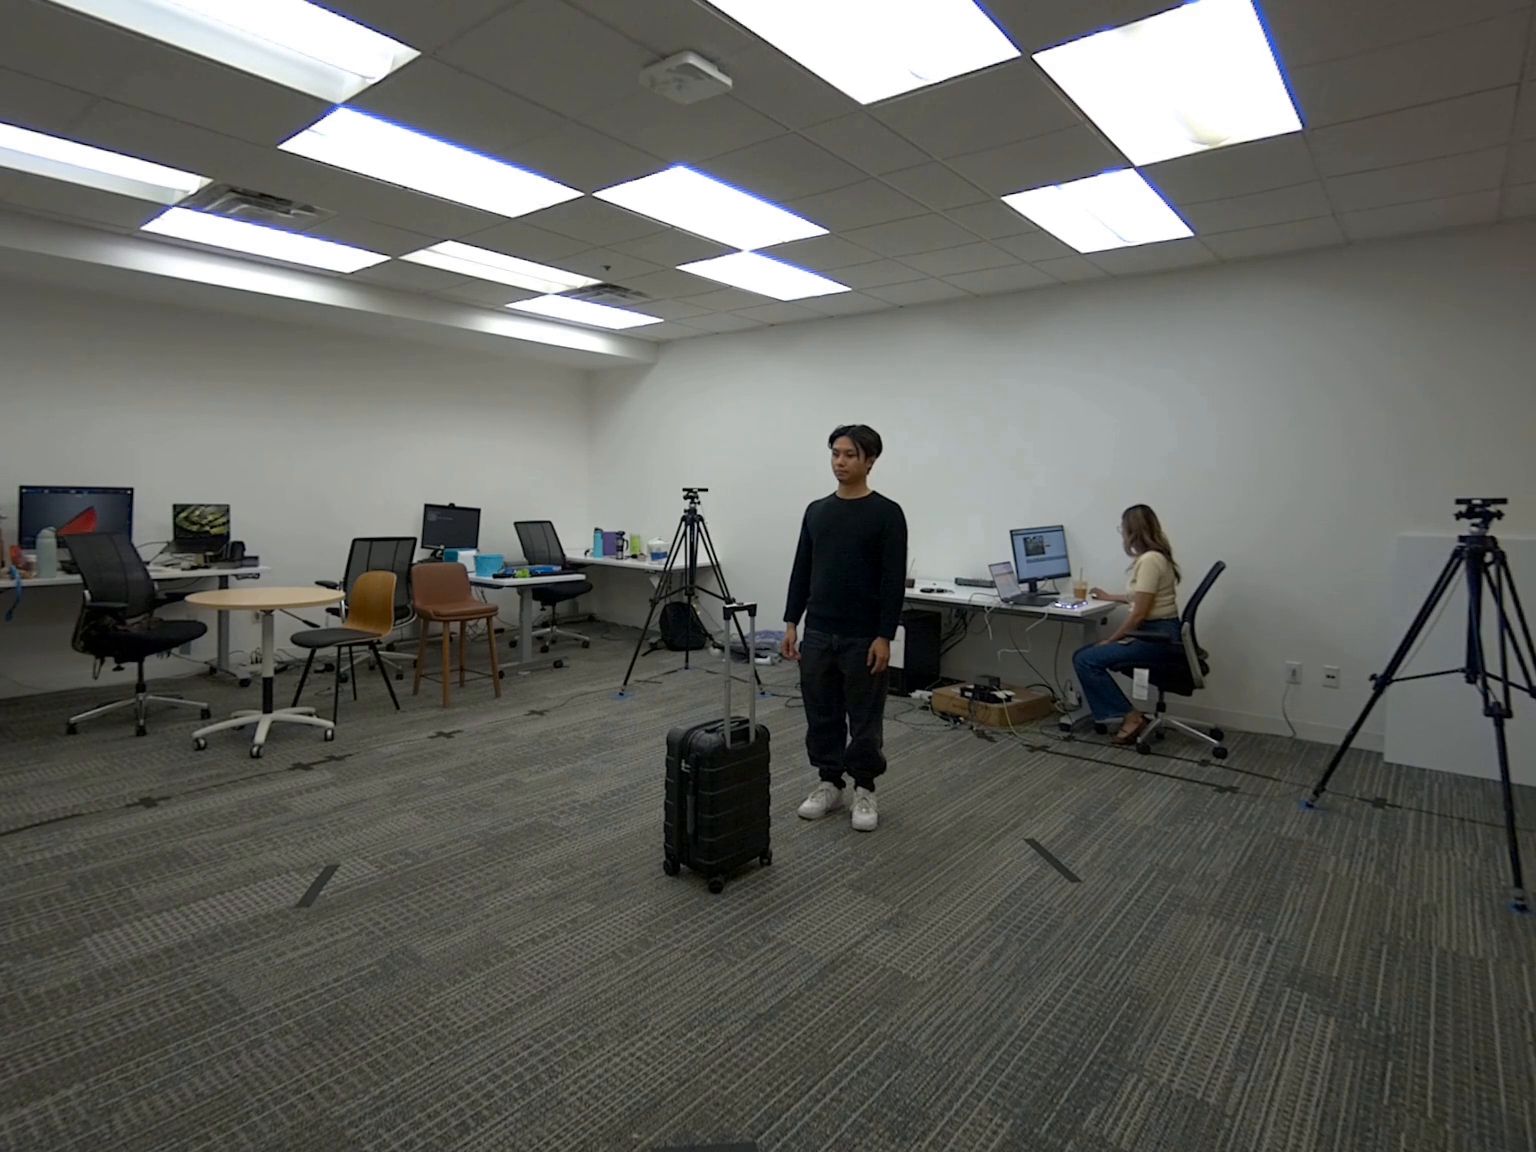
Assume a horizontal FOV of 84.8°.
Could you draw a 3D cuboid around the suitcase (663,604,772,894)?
[{"bbox_3d":[-0.194,0.591,3.100,0.265,0.978,0.372,1,1,40],"label":"suitcase"}]
